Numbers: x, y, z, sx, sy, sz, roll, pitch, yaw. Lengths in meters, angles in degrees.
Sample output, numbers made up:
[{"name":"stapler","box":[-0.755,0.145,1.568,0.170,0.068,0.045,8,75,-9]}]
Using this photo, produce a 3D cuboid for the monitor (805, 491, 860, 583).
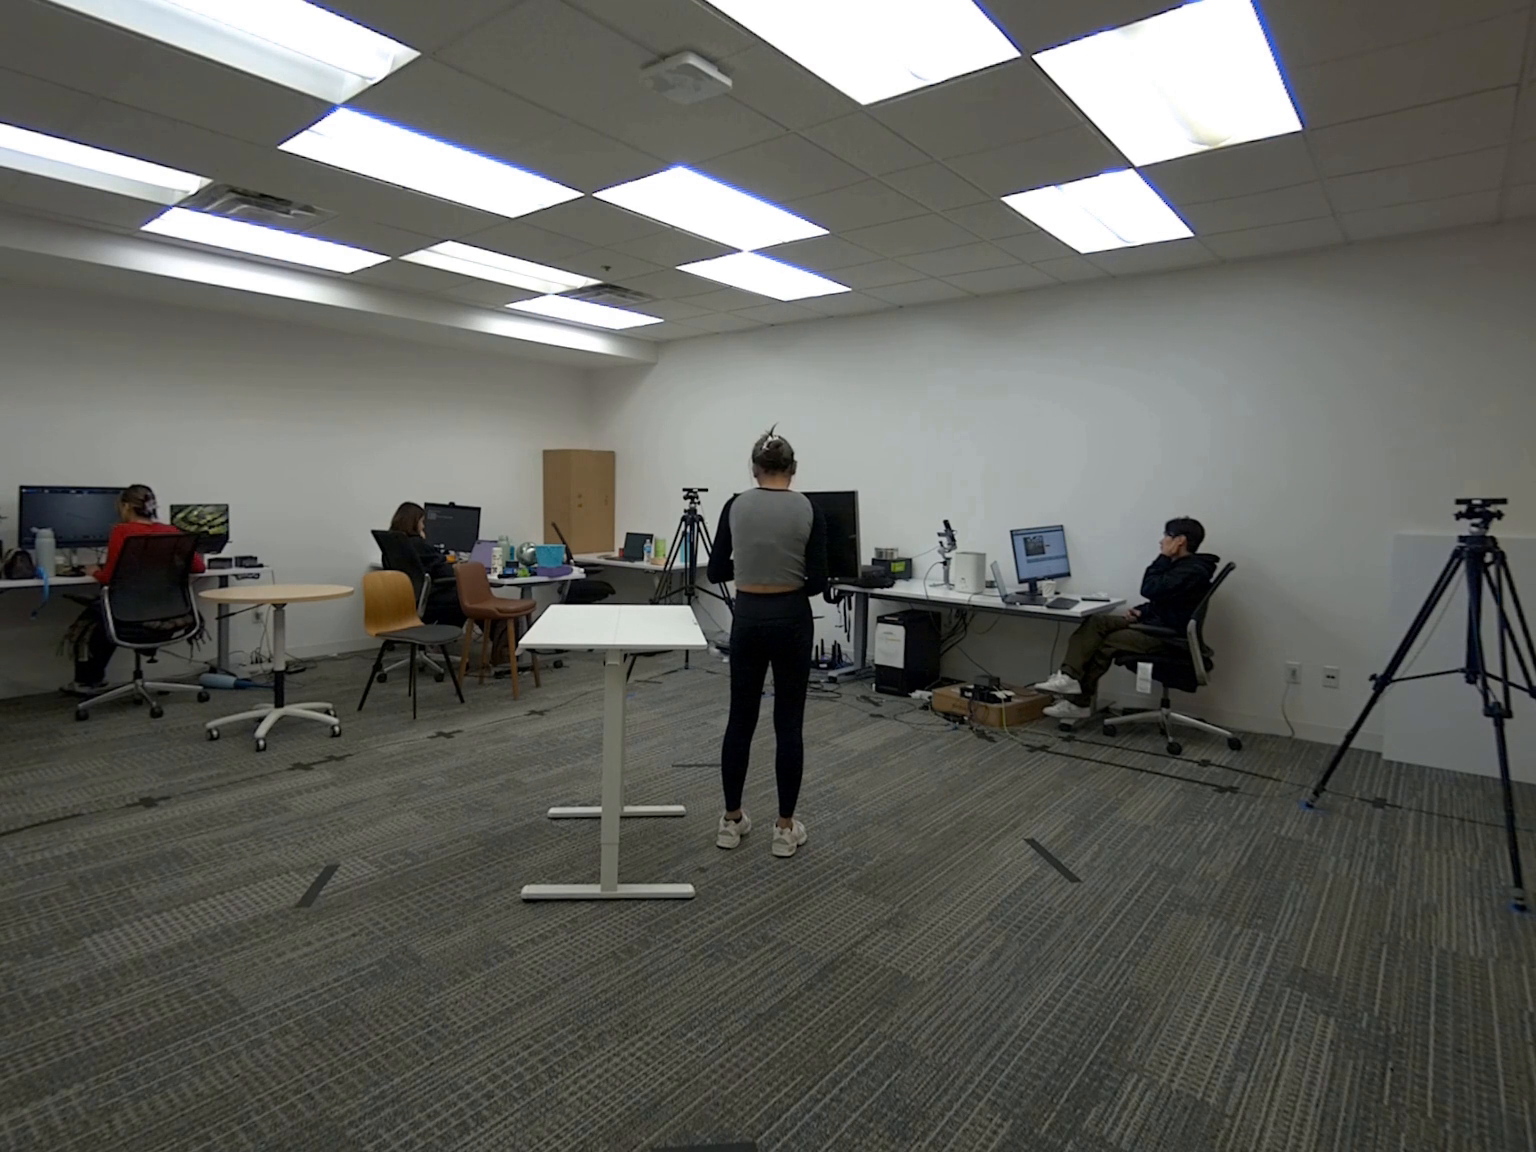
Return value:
[{"name":"monitor","box":[0.087,-0.090,3.528,0.554,0.524,0.182,0,-2,29]}]
